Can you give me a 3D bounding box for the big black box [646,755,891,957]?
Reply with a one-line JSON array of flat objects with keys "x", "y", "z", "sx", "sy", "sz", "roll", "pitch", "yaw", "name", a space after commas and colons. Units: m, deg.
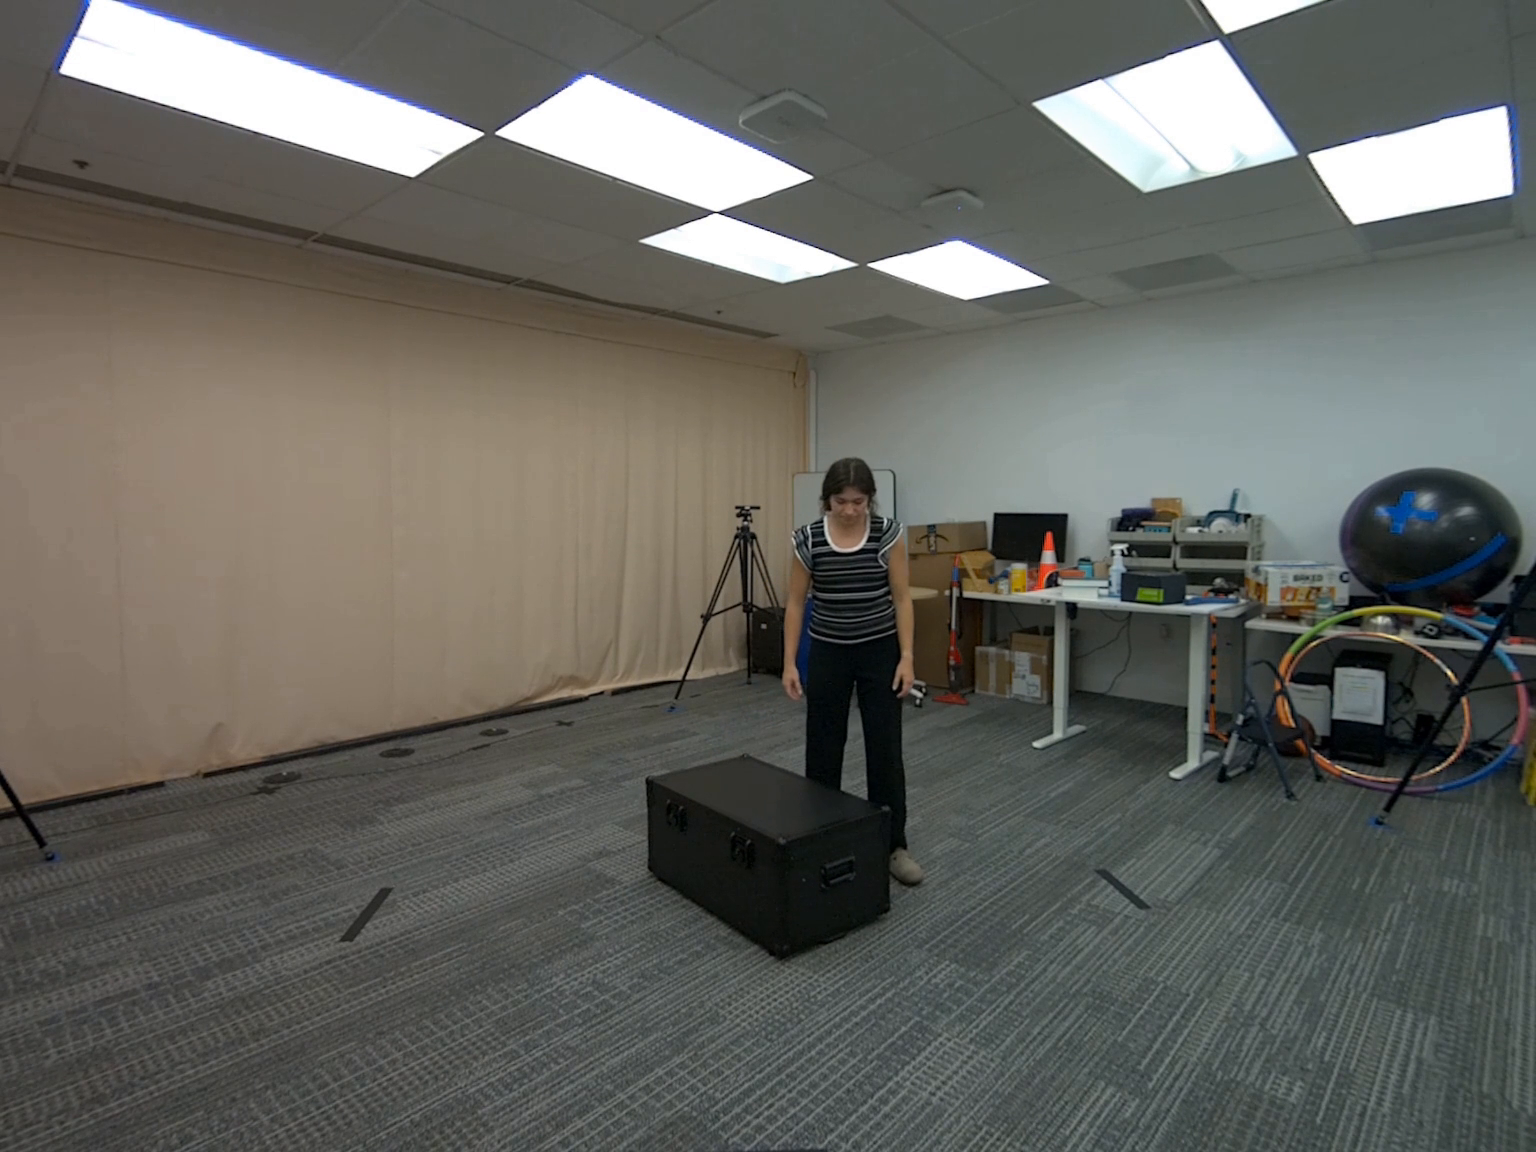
[{"x": -0.041, "y": 0.950, "z": 3.022, "sx": 0.506, "sy": 0.395, "sz": 0.890, "roll": -3, "pitch": 6, "yaw": -38, "name": "big black box"}]
